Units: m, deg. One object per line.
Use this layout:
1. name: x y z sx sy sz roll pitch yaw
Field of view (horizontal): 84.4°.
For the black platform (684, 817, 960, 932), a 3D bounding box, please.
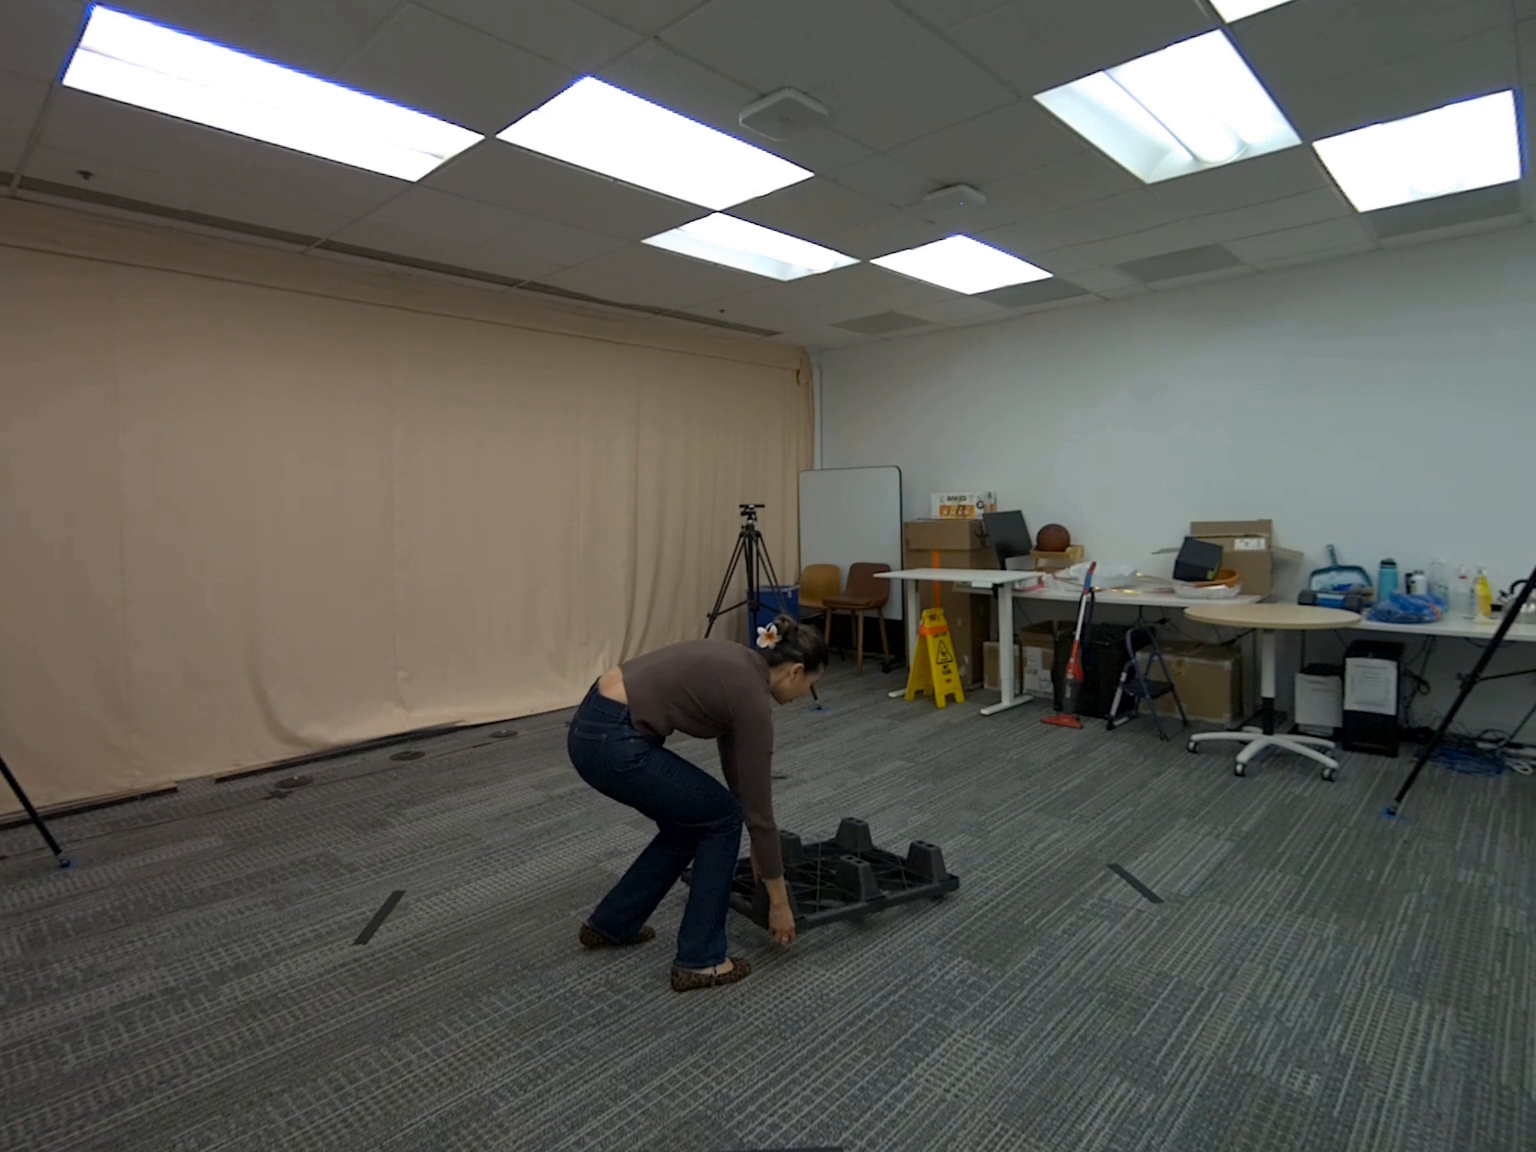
1. black platform: 0.183 1.024 2.978 0.781 0.143 0.623 1 -1 -36
